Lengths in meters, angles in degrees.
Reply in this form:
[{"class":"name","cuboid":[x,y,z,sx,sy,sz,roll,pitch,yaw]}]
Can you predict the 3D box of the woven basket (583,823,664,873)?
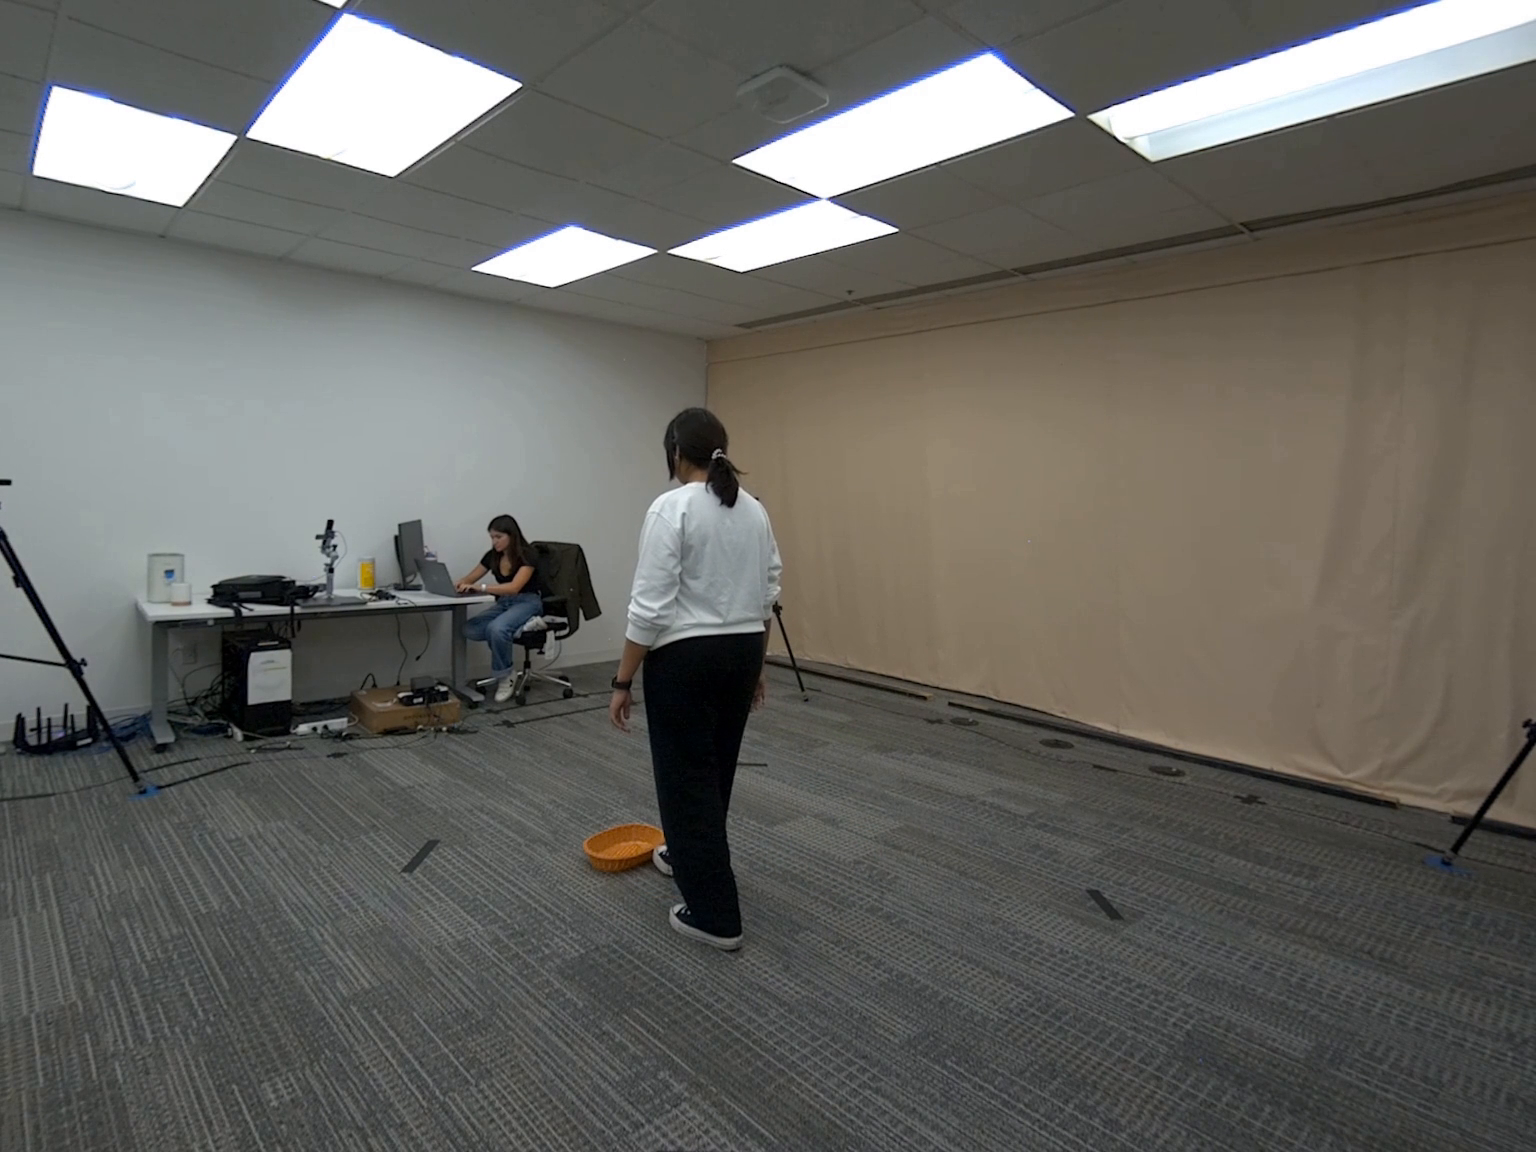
[{"class":"woven basket","cuboid":[-0.554,1.046,3.238,0.258,0.073,0.343,6,7,35]}]
